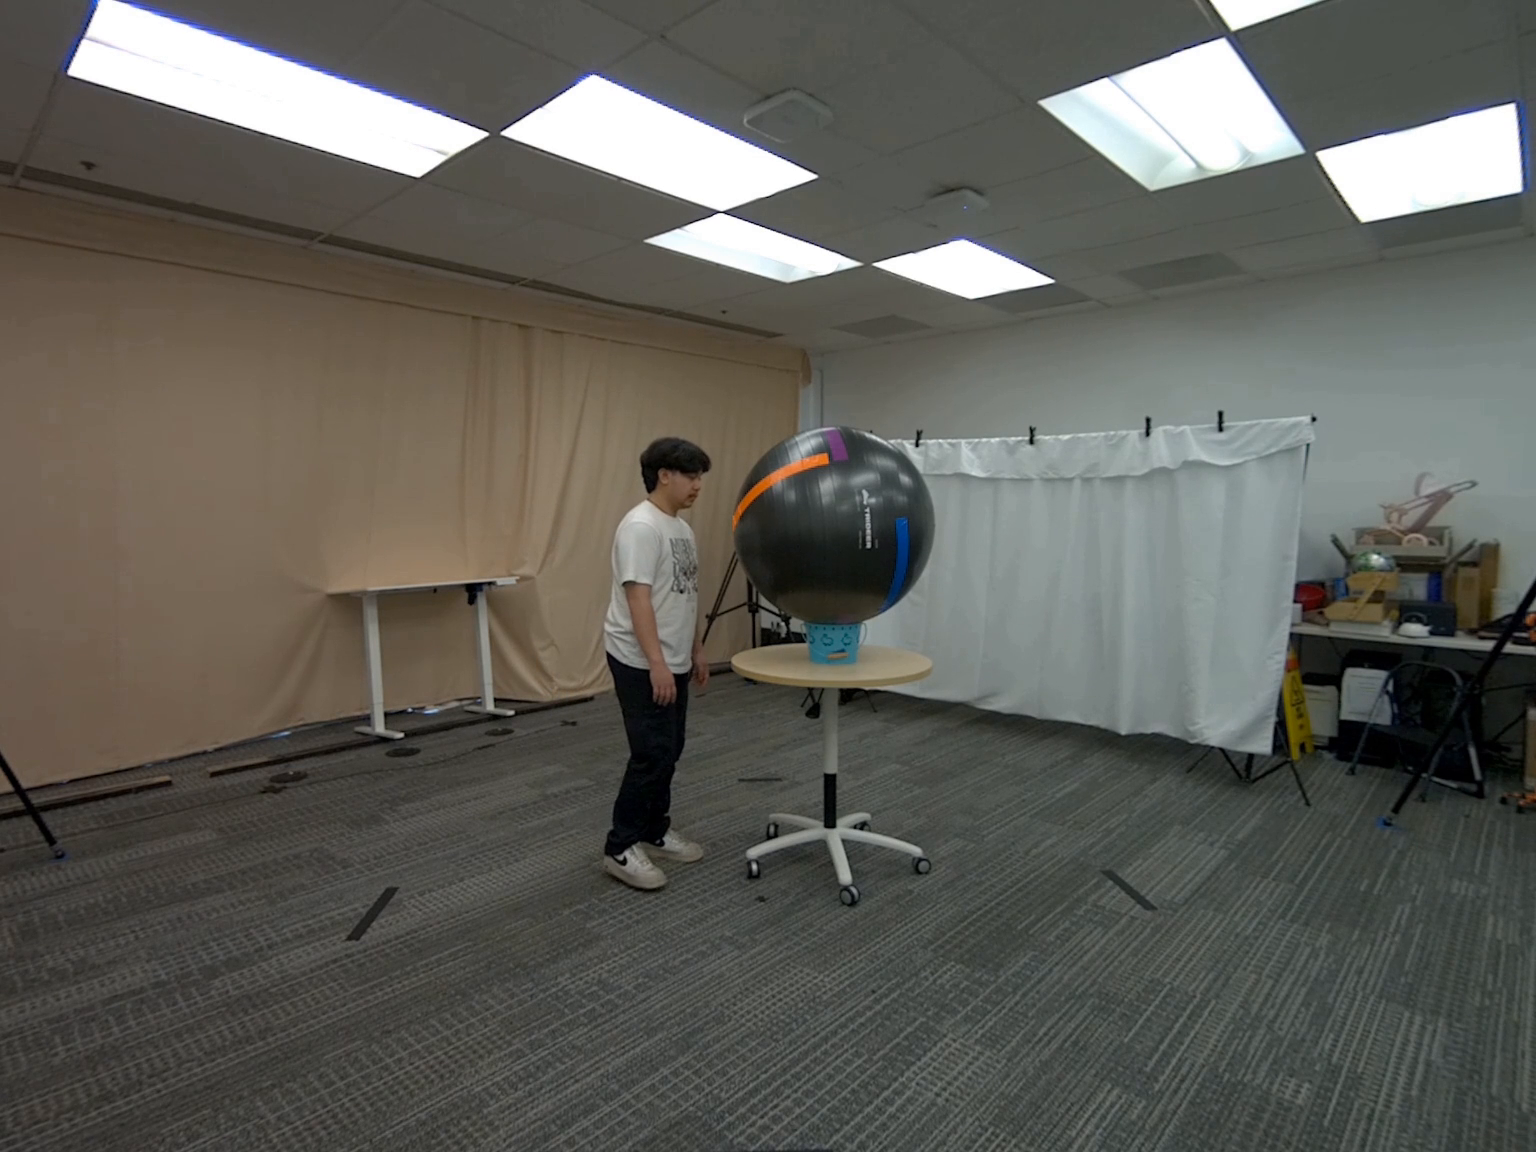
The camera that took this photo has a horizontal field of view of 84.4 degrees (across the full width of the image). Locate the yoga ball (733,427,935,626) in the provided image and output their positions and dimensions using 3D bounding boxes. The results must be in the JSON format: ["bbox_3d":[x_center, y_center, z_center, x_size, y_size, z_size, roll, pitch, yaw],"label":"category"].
[{"bbox_3d":[0.252,-0.183,3.221,0.757,0.756,0.760,0,4,-2],"label":"yoga ball"}]
